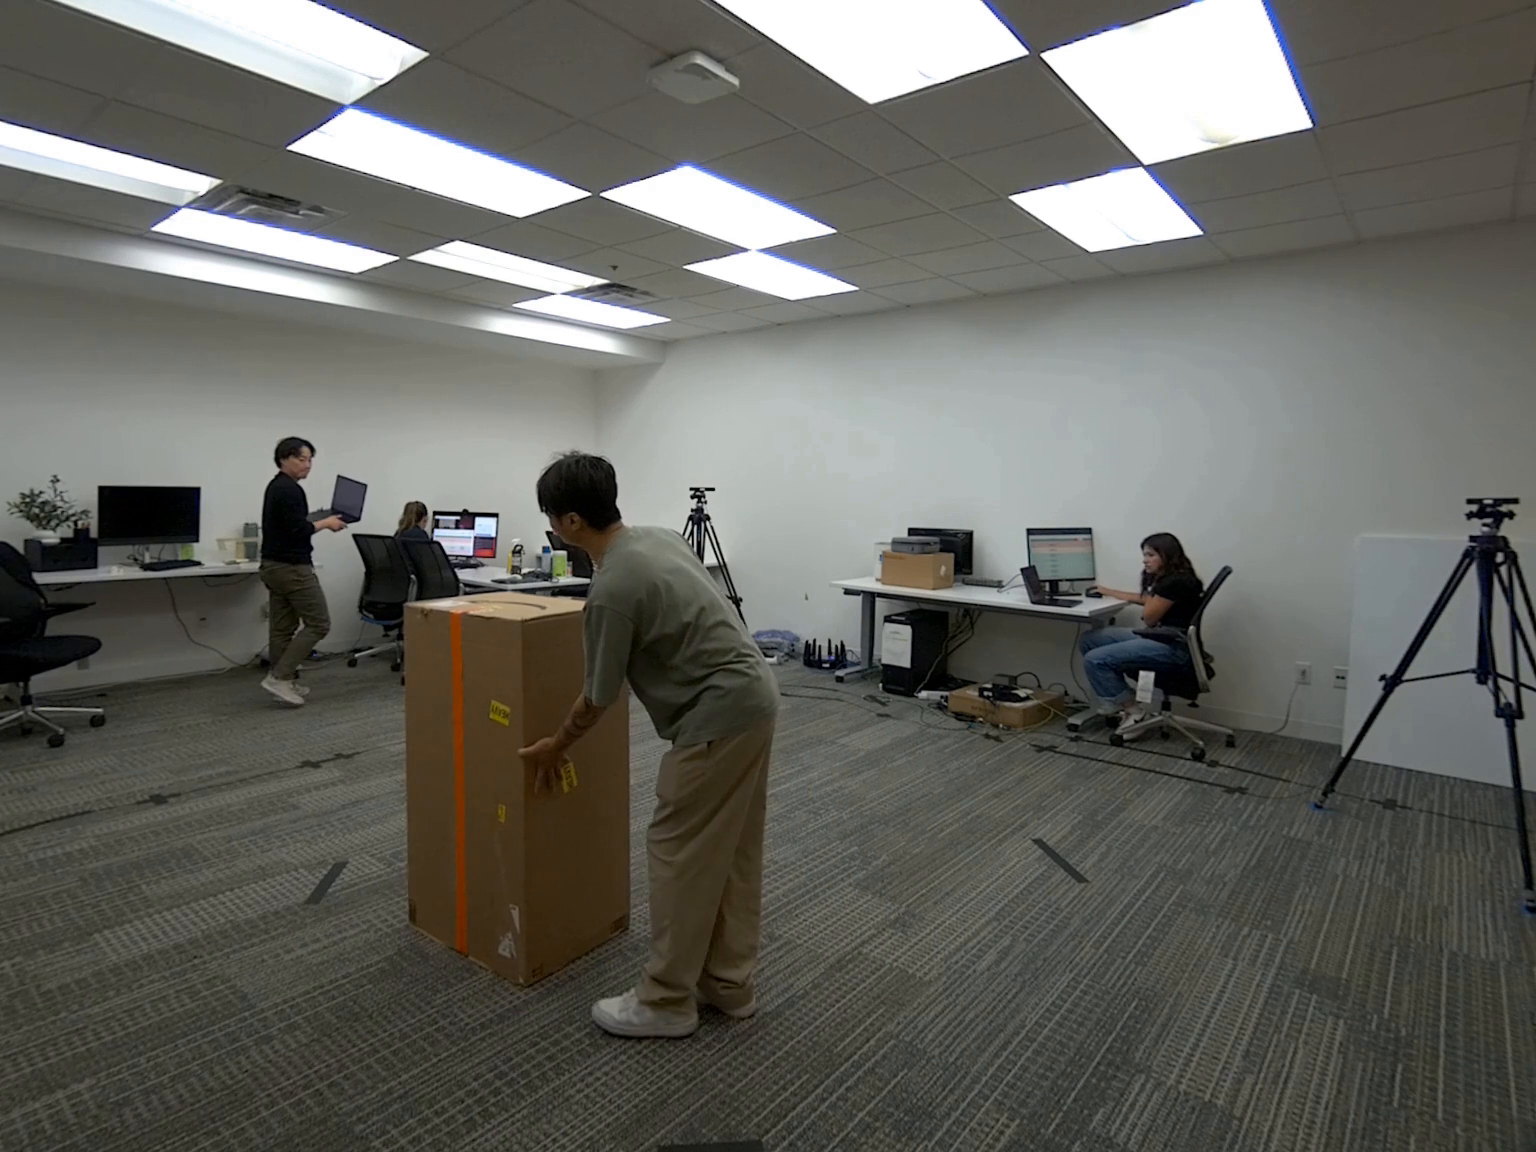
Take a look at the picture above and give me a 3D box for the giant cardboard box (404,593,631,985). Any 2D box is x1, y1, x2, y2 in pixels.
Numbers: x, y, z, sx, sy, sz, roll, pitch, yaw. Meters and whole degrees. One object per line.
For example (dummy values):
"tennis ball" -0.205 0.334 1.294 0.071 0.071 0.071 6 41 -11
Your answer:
"giant cardboard box" -0.800 0.598 2.653 0.596 1.023 0.414 3 4 36
